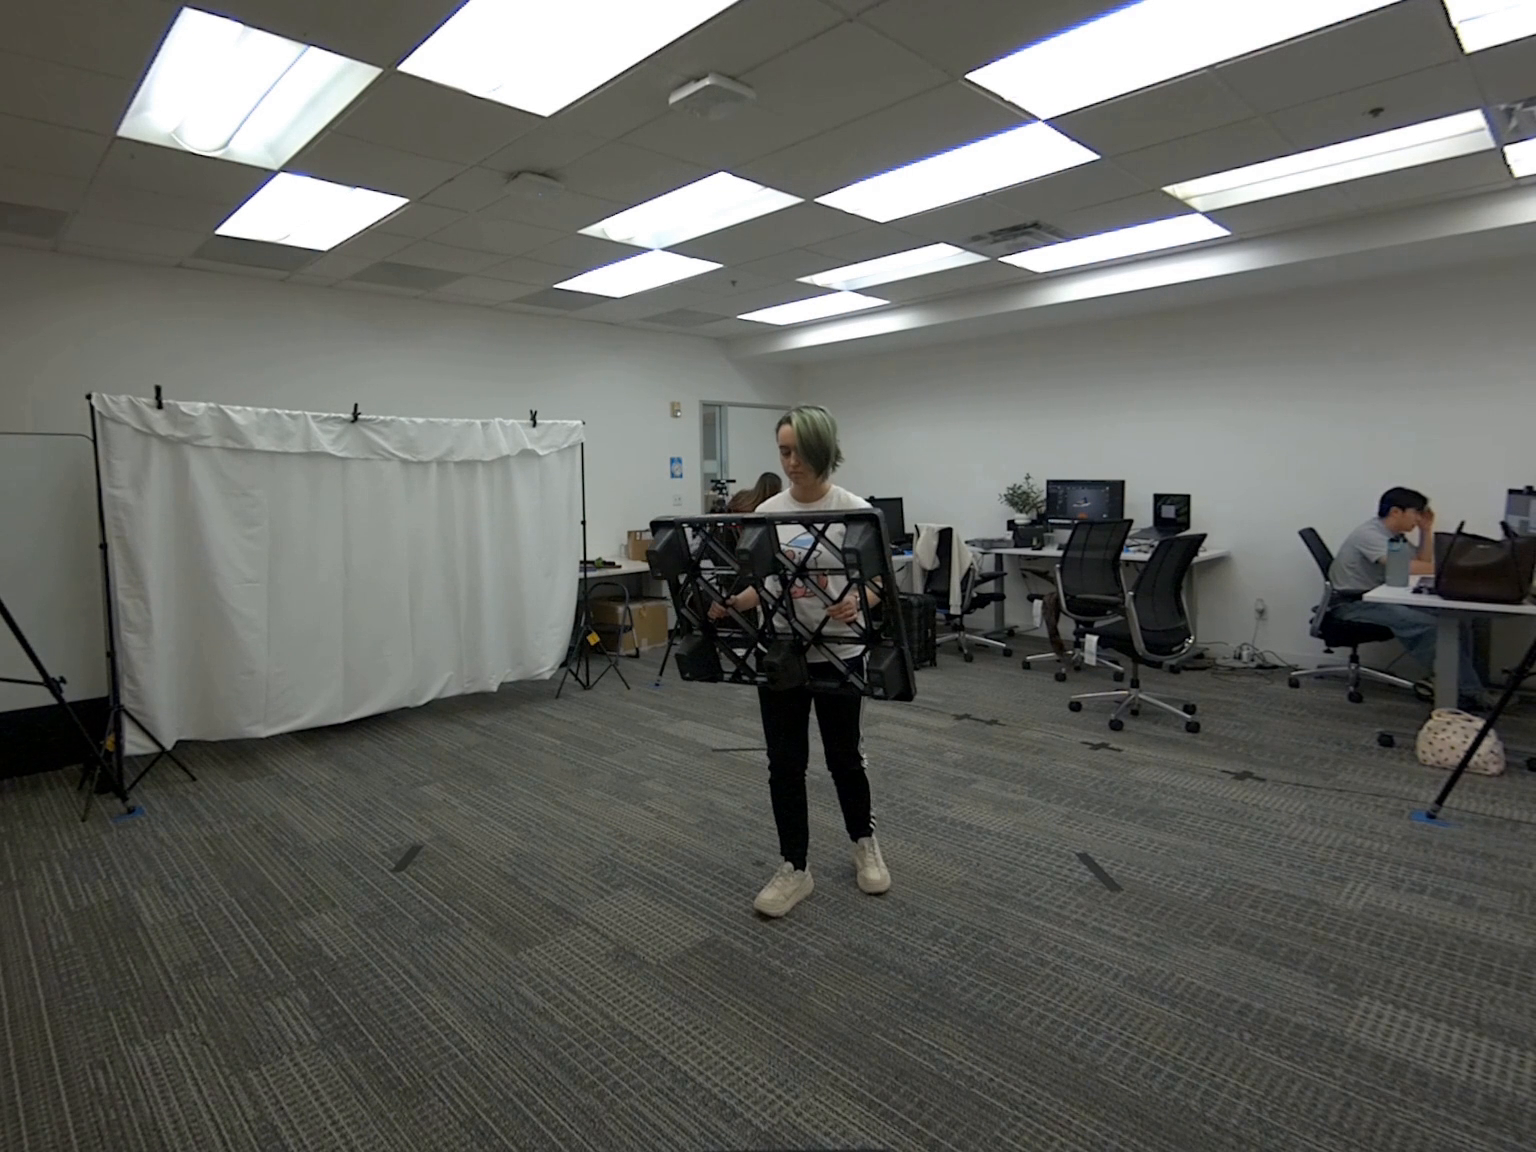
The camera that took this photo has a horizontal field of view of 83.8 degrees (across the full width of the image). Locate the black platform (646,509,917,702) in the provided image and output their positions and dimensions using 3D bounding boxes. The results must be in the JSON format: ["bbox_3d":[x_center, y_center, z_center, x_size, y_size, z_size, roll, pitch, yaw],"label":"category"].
[{"bbox_3d":[0.005,0.112,2.603,0.827,0.594,0.142,0,22,34],"label":"black platform"}]
